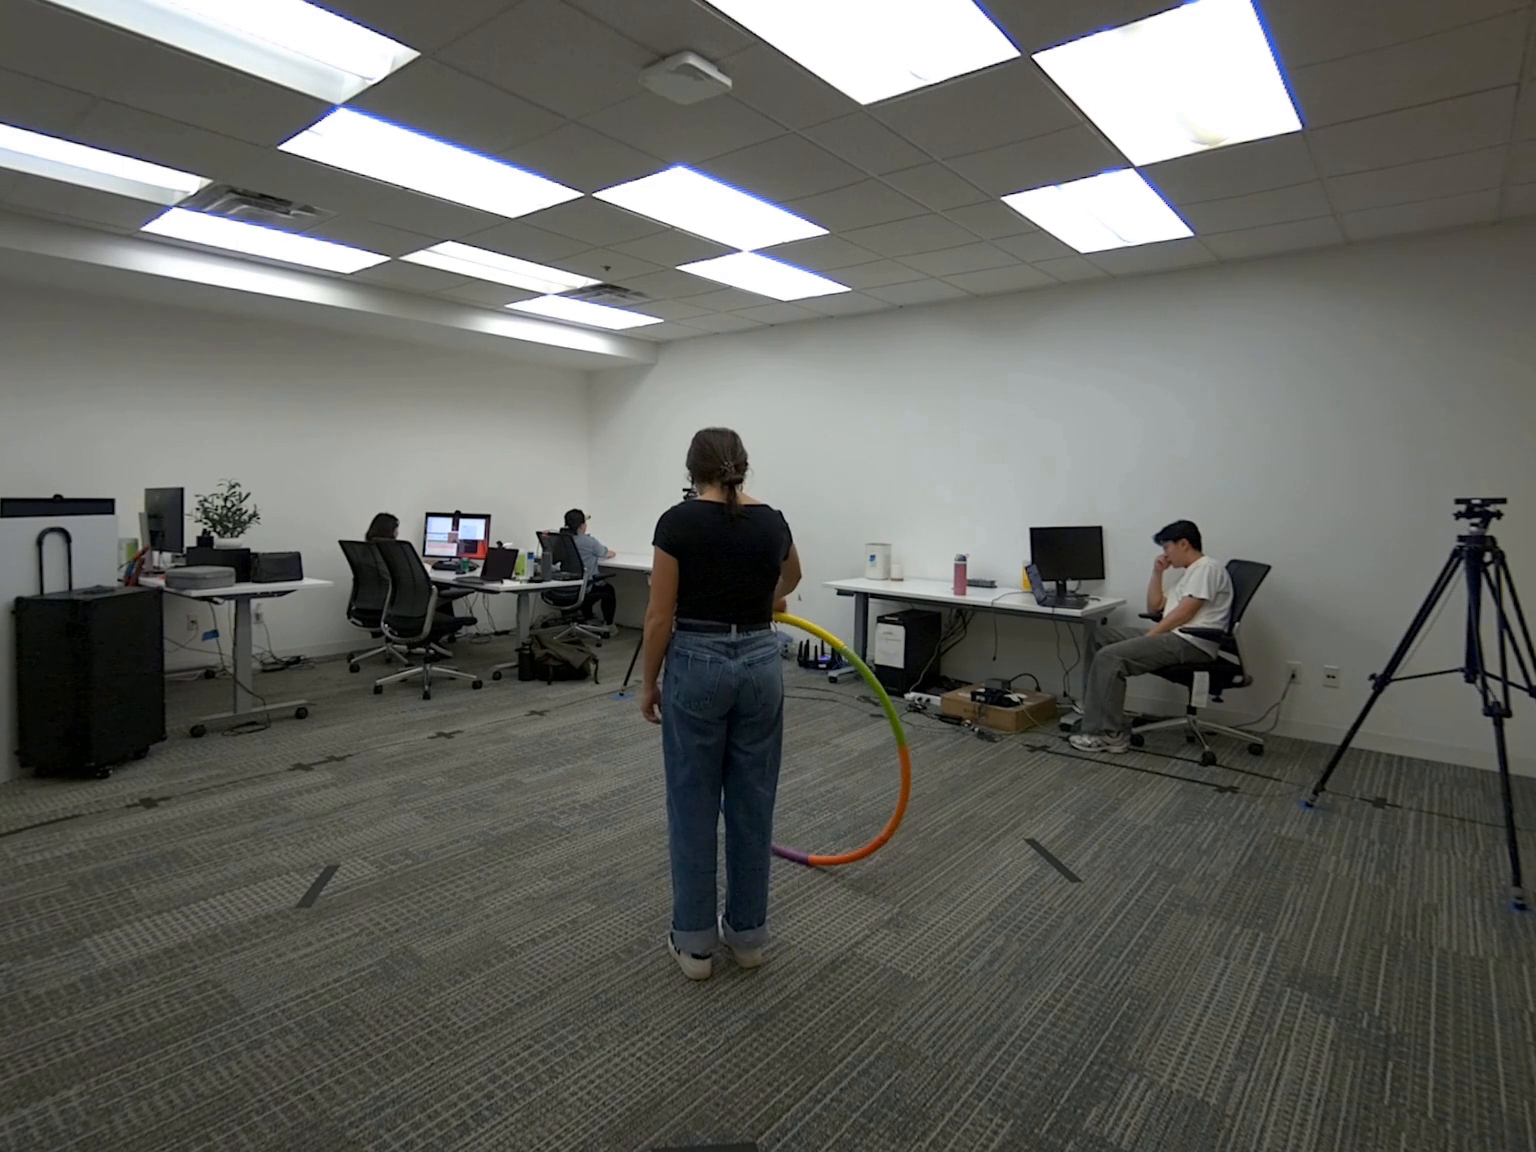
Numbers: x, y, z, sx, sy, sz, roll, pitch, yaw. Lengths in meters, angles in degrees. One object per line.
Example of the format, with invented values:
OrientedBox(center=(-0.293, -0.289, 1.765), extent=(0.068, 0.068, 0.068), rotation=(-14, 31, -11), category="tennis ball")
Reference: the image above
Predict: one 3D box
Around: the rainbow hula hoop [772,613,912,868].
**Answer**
OrientedBox(center=(0.059, 0.591, 3.115), extent=(1.010, 0.965, 0.035), rotation=(4, 16, 35), category="rainbow hula hoop")
